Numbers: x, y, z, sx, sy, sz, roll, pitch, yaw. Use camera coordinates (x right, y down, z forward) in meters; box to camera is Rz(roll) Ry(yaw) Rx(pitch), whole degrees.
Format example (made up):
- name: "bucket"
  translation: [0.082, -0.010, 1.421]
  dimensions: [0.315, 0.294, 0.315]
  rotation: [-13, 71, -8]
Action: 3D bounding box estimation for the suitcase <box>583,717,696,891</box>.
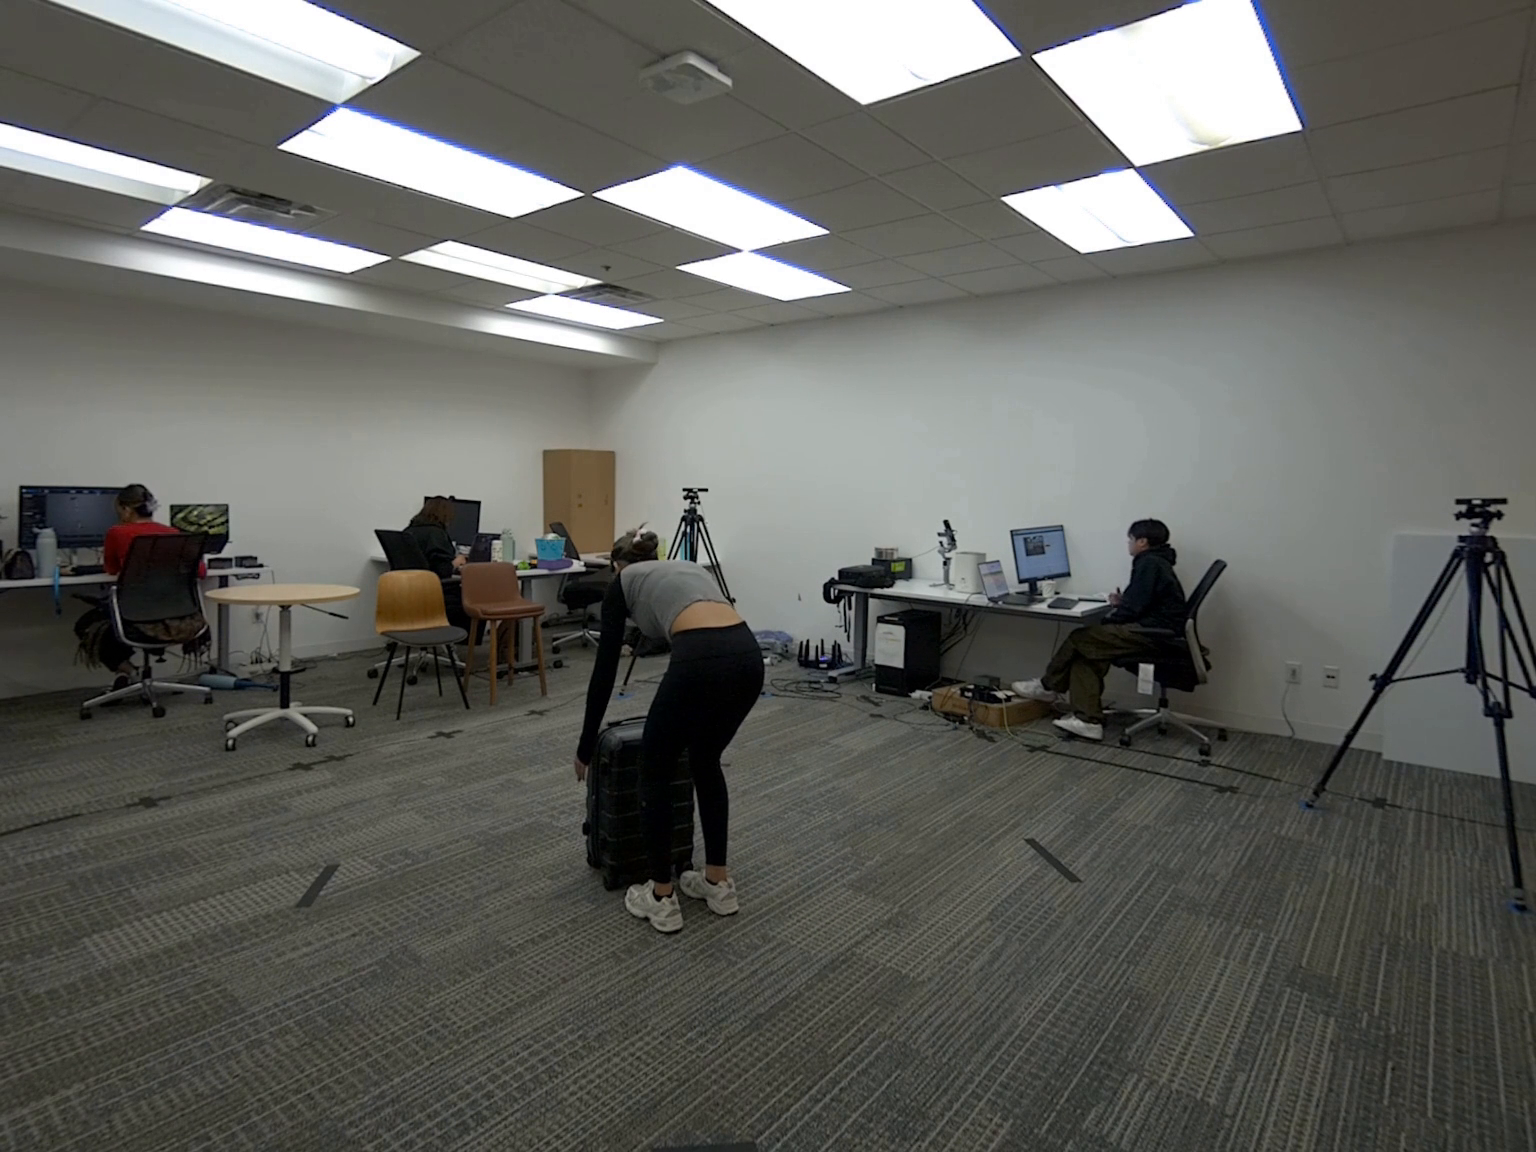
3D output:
- name: "suitcase"
  translation: [-0.467, 0.789, 3.078]
  dimensions: [0.365, 0.548, 0.256]
  rotation: [0, 3, -30]
